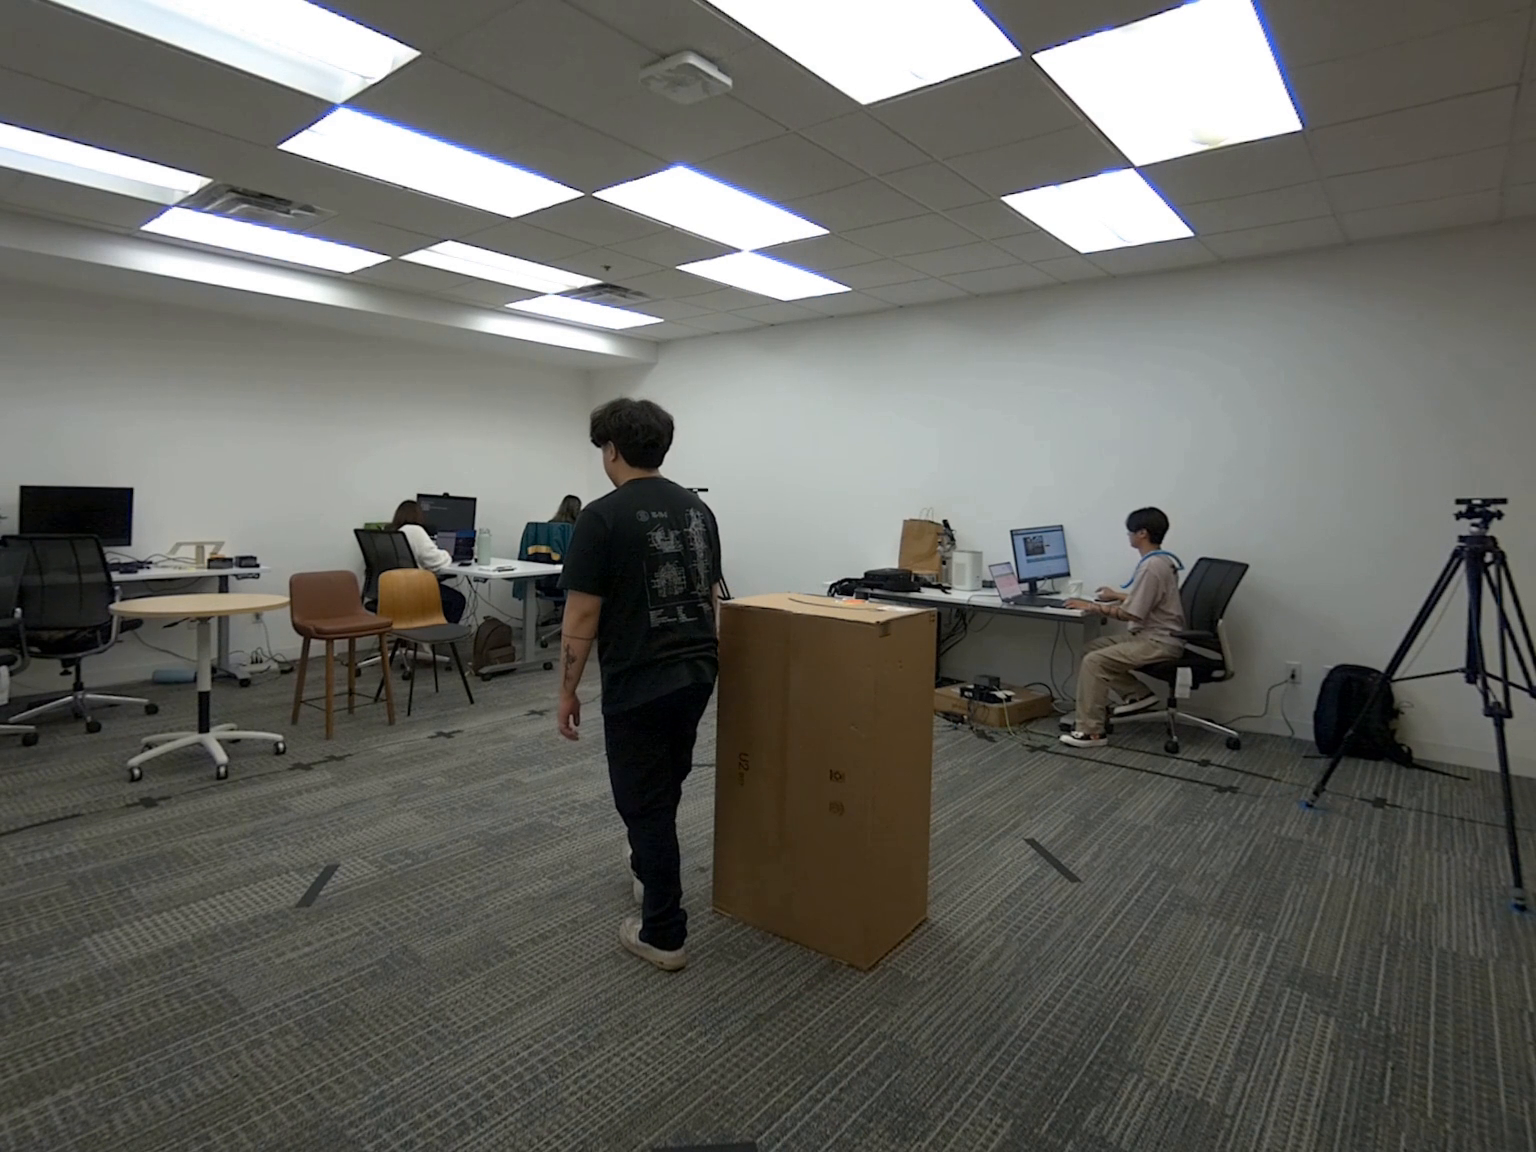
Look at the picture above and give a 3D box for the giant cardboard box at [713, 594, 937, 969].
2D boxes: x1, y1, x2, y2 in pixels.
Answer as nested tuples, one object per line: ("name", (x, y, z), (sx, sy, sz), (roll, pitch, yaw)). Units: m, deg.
("giant cardboard box", (0.177, 0.601, 2.781), (0.603, 1.025, 0.433), (4, 3, 37))
